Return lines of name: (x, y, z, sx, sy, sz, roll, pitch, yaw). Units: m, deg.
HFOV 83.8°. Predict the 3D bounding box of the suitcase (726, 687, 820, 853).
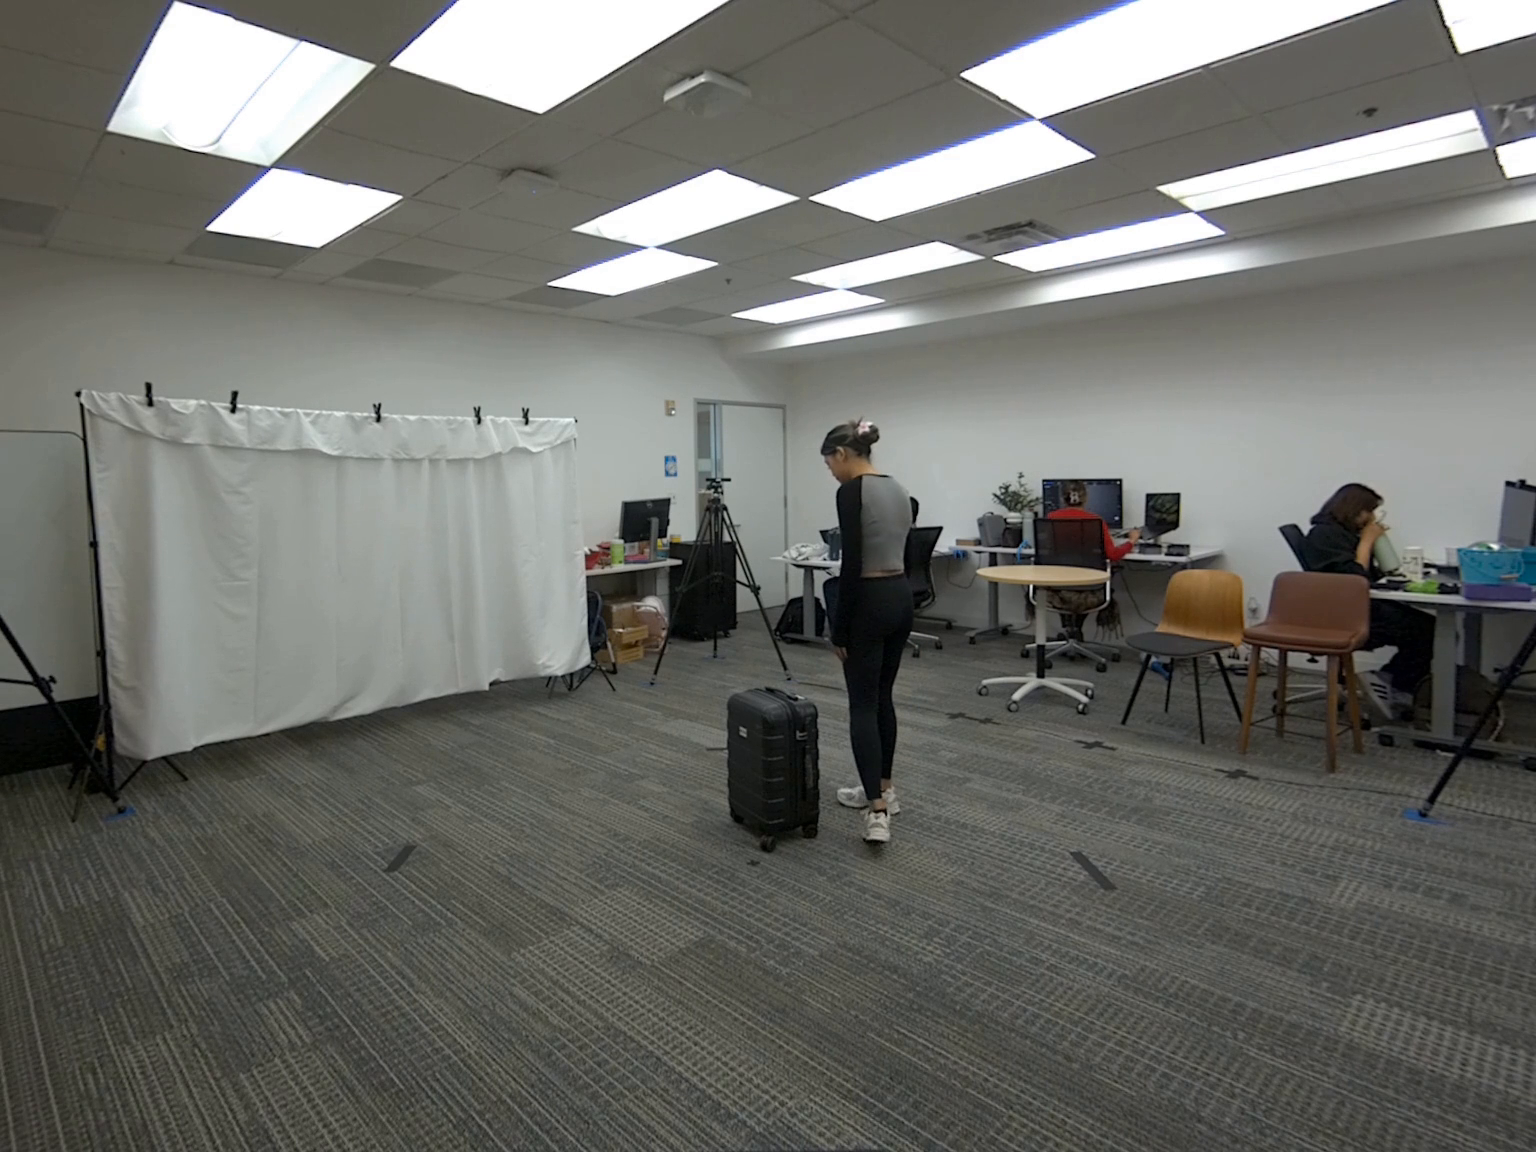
suitcase: (0.020, 0.729, 3.385, 0.242, 0.547, 0.386, -3, 6, -30)
